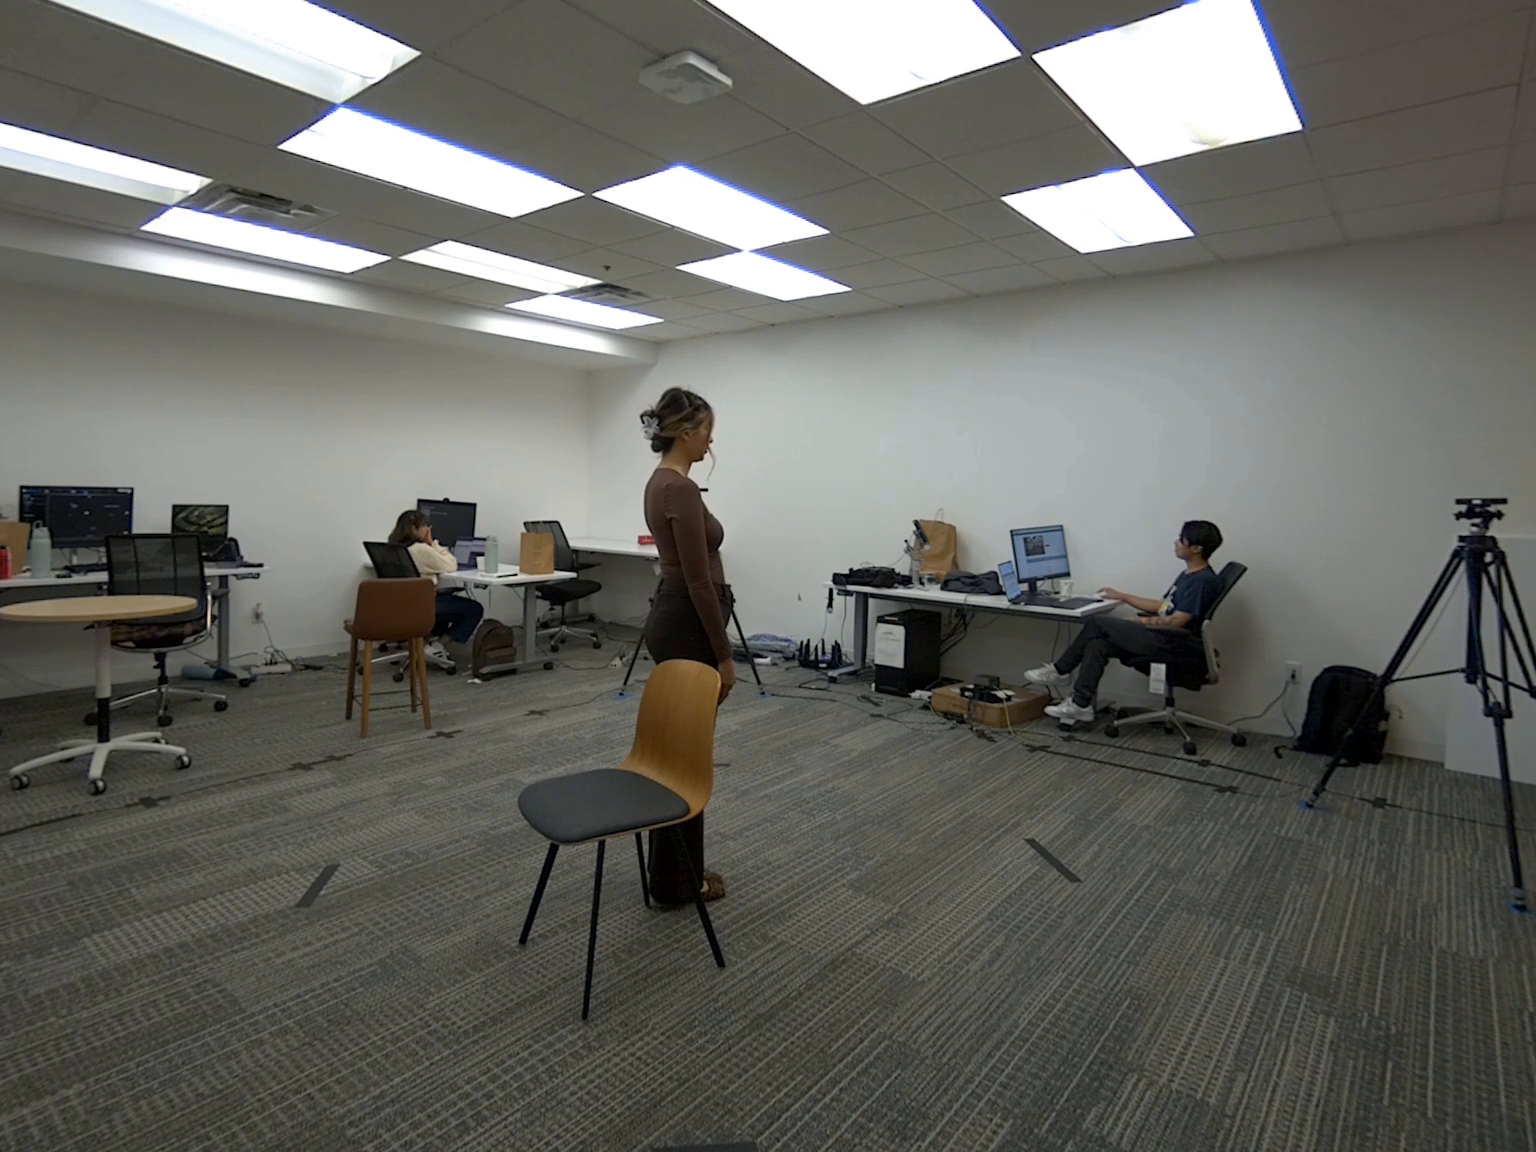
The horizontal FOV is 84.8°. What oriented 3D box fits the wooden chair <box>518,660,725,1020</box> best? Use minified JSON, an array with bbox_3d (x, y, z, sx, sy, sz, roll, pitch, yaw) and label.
[{"bbox_3d":[-0.441,0.702,2.489,0.507,0.877,0.494,4,2,-36],"label":"wooden chair"}]
